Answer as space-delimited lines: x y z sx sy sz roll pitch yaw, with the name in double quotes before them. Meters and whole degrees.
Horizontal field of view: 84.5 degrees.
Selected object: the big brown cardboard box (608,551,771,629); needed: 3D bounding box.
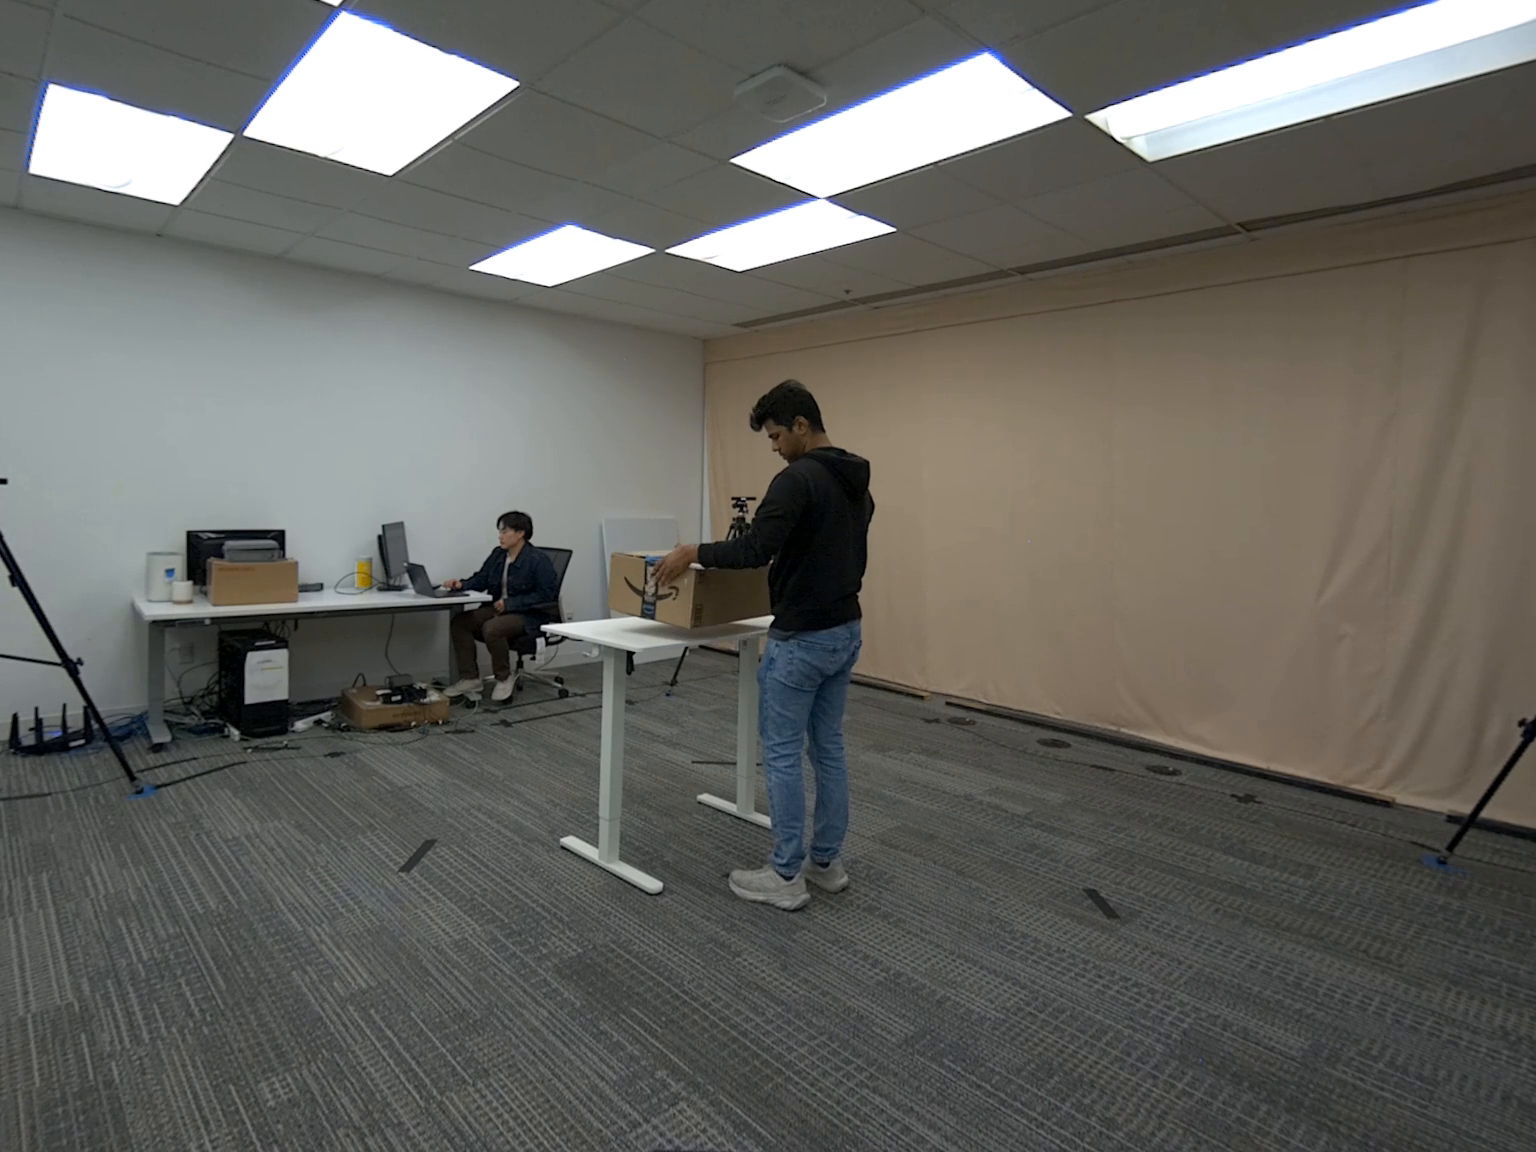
"big brown cardboard box" -0.274 0.033 3.234 0.428 0.232 0.576 10 8 35
